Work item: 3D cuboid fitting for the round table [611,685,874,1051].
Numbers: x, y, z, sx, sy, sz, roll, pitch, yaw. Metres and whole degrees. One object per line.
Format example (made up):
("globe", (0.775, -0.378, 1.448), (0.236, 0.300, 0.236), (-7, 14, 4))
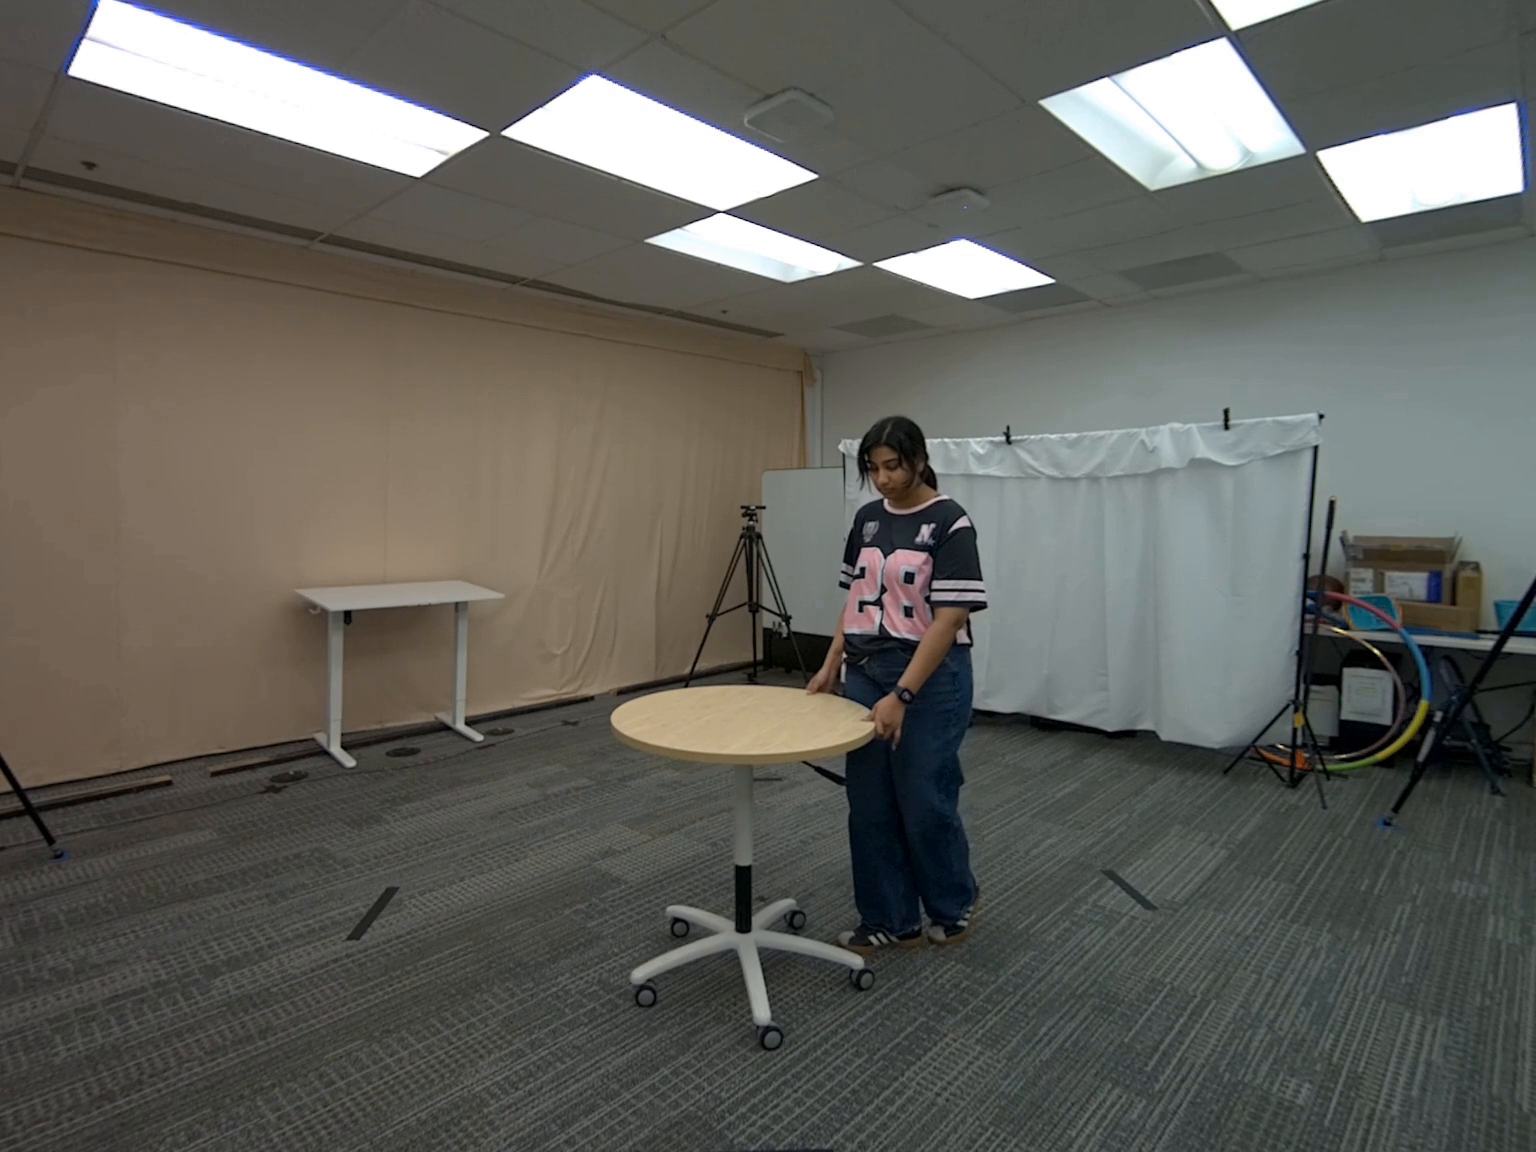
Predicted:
("round table", (-0.071, 0.801, 2.479), (0.763, 0.792, 0.767), (0, 4, -2))
